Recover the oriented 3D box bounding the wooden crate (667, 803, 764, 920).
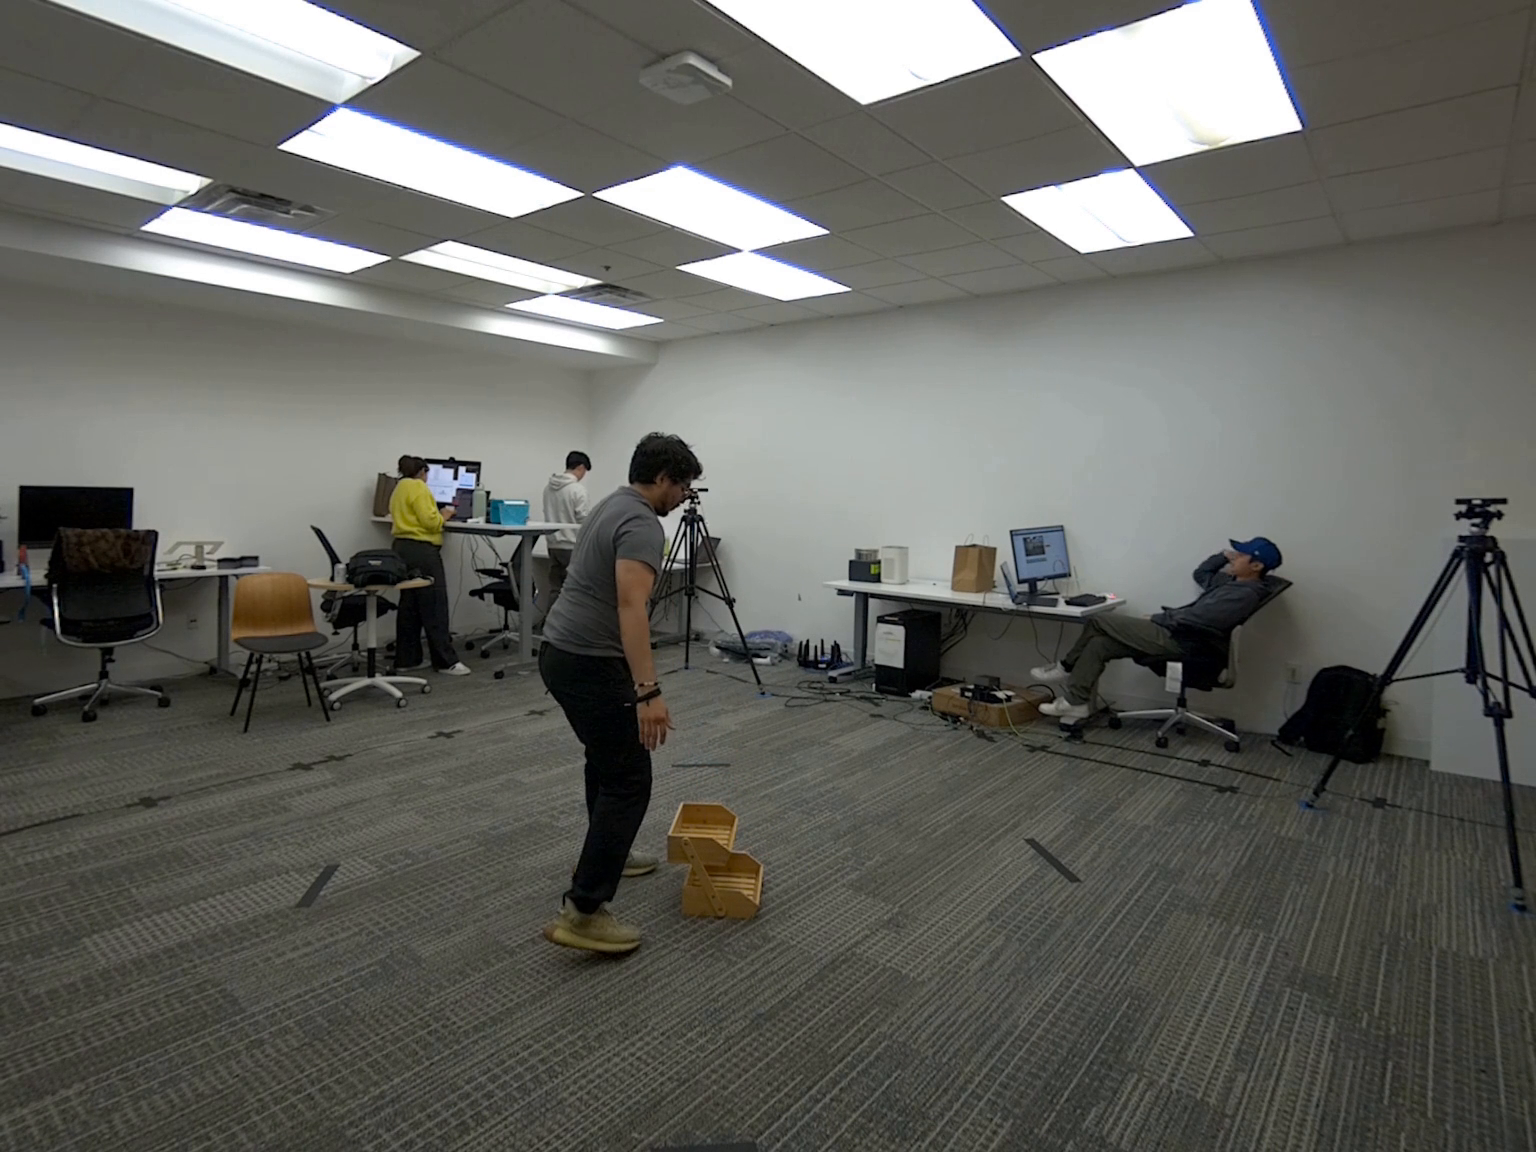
[{"bbox_3d":[-0.172,0.961,2.902,0.303,0.272,0.324,1,4,3],"label":"wooden crate"}]
